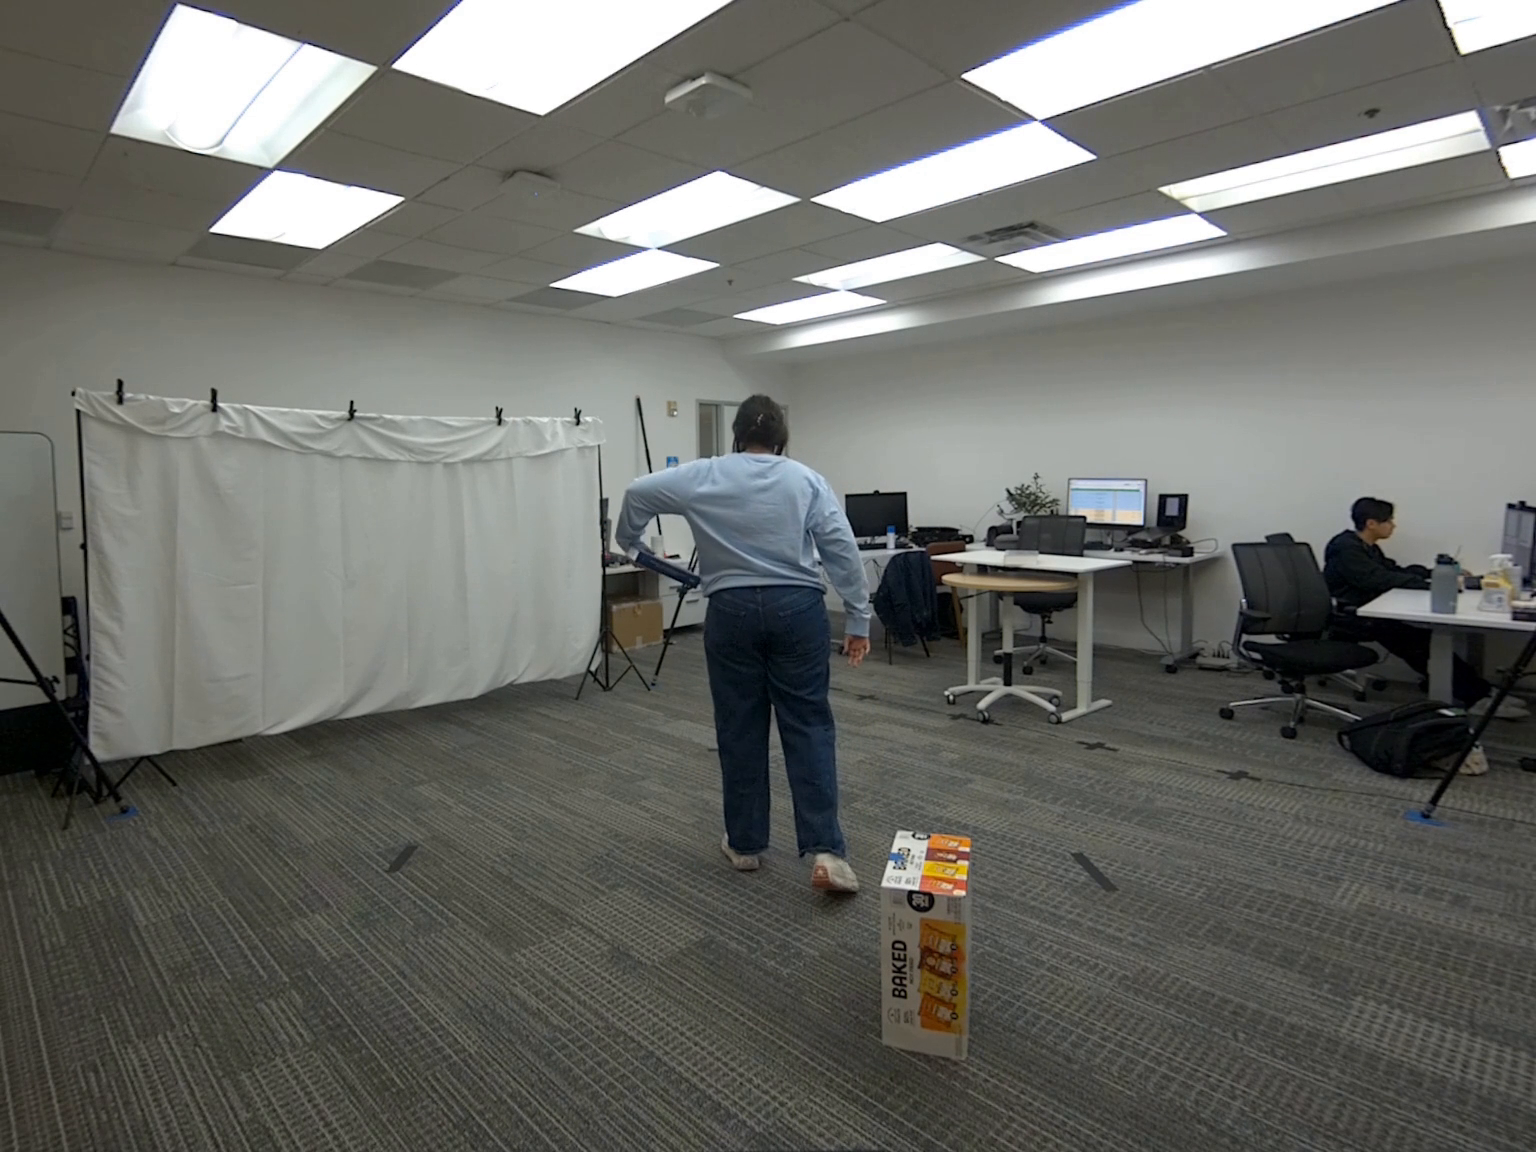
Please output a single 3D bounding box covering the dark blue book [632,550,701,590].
[{"bbox_3d":[-0.362,-0.036,3.011,0.239,0.045,0.167,25,0,-22],"label":"dark blue book"}]
